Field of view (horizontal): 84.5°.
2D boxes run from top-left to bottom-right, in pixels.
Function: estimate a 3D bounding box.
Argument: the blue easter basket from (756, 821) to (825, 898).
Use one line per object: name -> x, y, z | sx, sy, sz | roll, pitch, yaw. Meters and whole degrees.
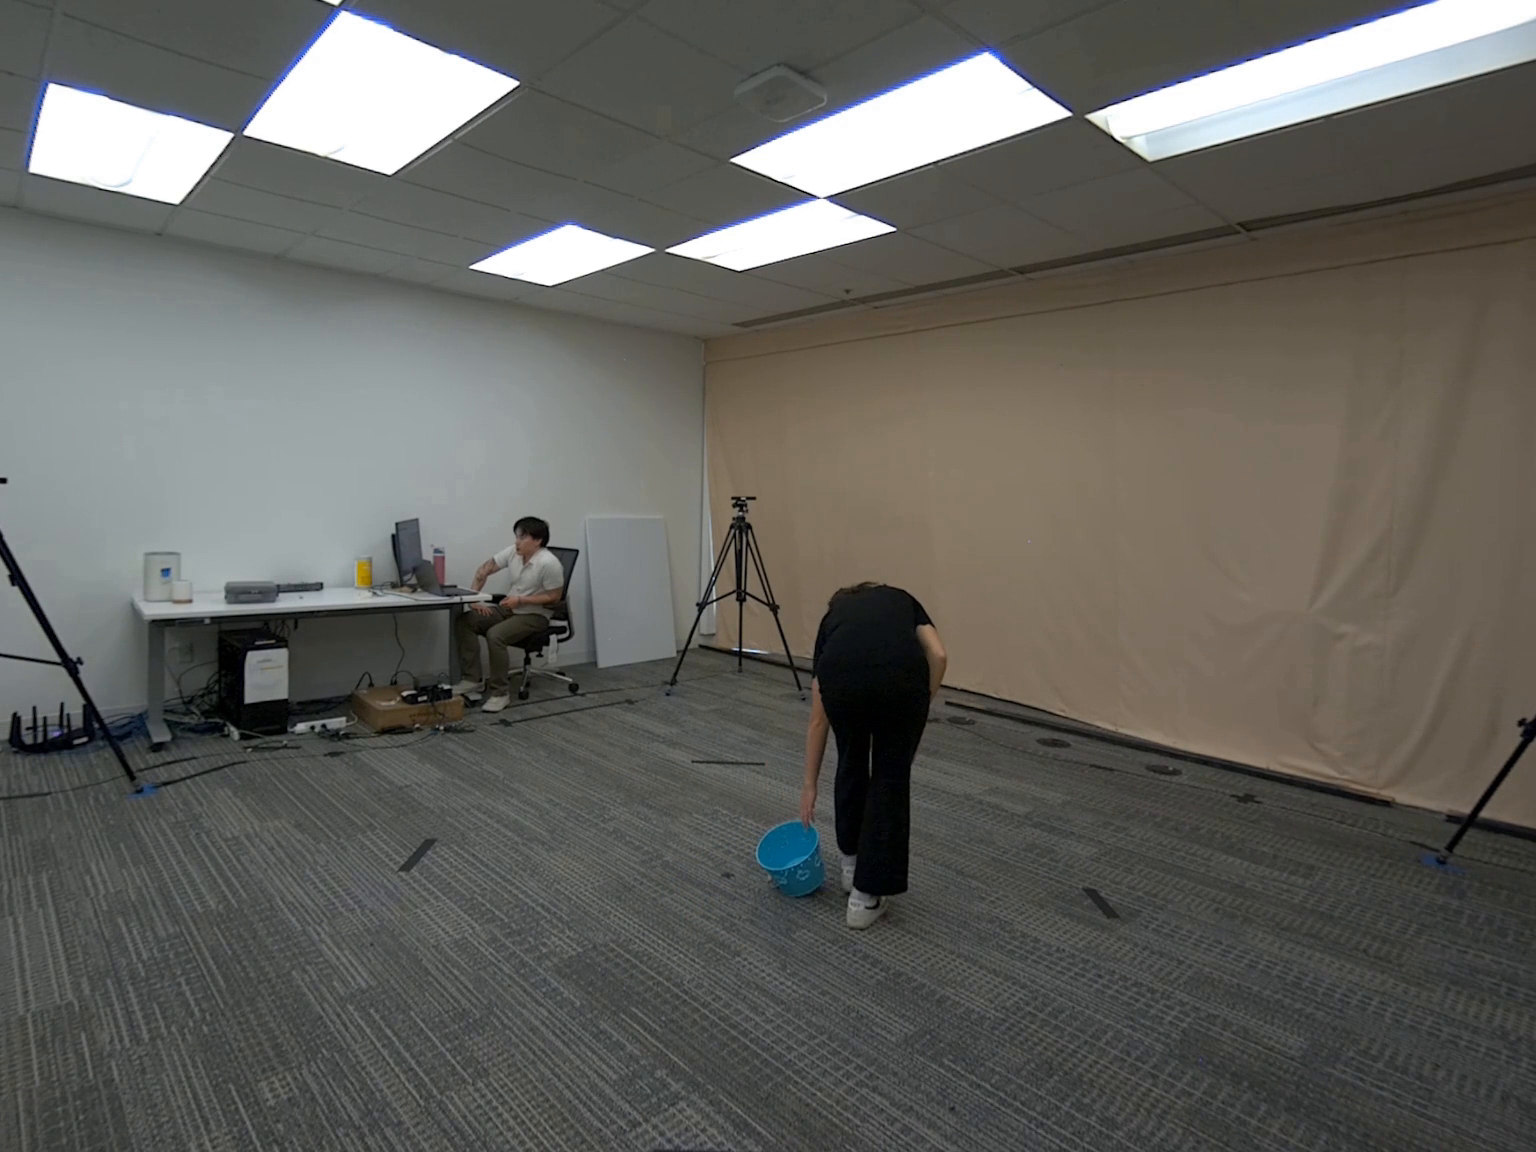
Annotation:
blue easter basket -> 0.084, 1.009, 2.991 | 0.244, 0.153, 0.247 | -19, 21, 6
